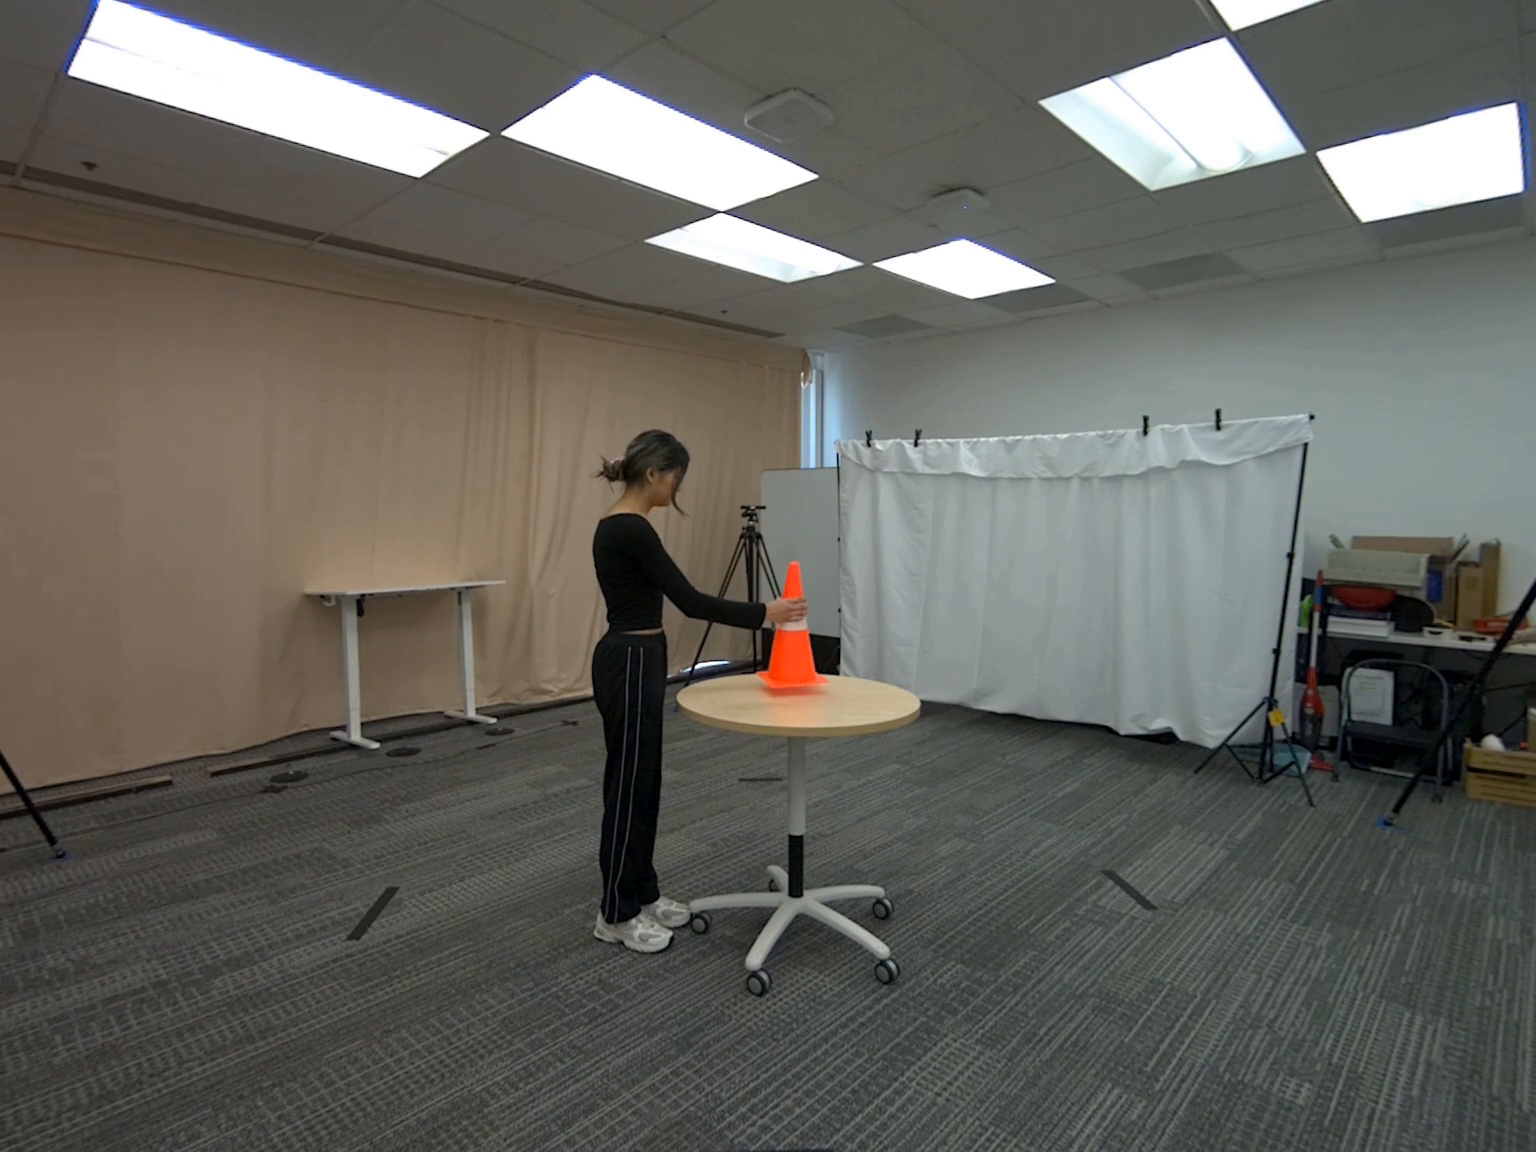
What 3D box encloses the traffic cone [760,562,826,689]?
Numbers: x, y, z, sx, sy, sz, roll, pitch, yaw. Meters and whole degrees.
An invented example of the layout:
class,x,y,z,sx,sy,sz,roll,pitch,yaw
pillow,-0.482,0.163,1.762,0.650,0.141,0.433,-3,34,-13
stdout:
class,x,y,z,sx,sy,sz,roll,pitch,yaw
traffic cone,0.081,0.150,2.727,0.201,0.382,0.209,-1,8,-13
